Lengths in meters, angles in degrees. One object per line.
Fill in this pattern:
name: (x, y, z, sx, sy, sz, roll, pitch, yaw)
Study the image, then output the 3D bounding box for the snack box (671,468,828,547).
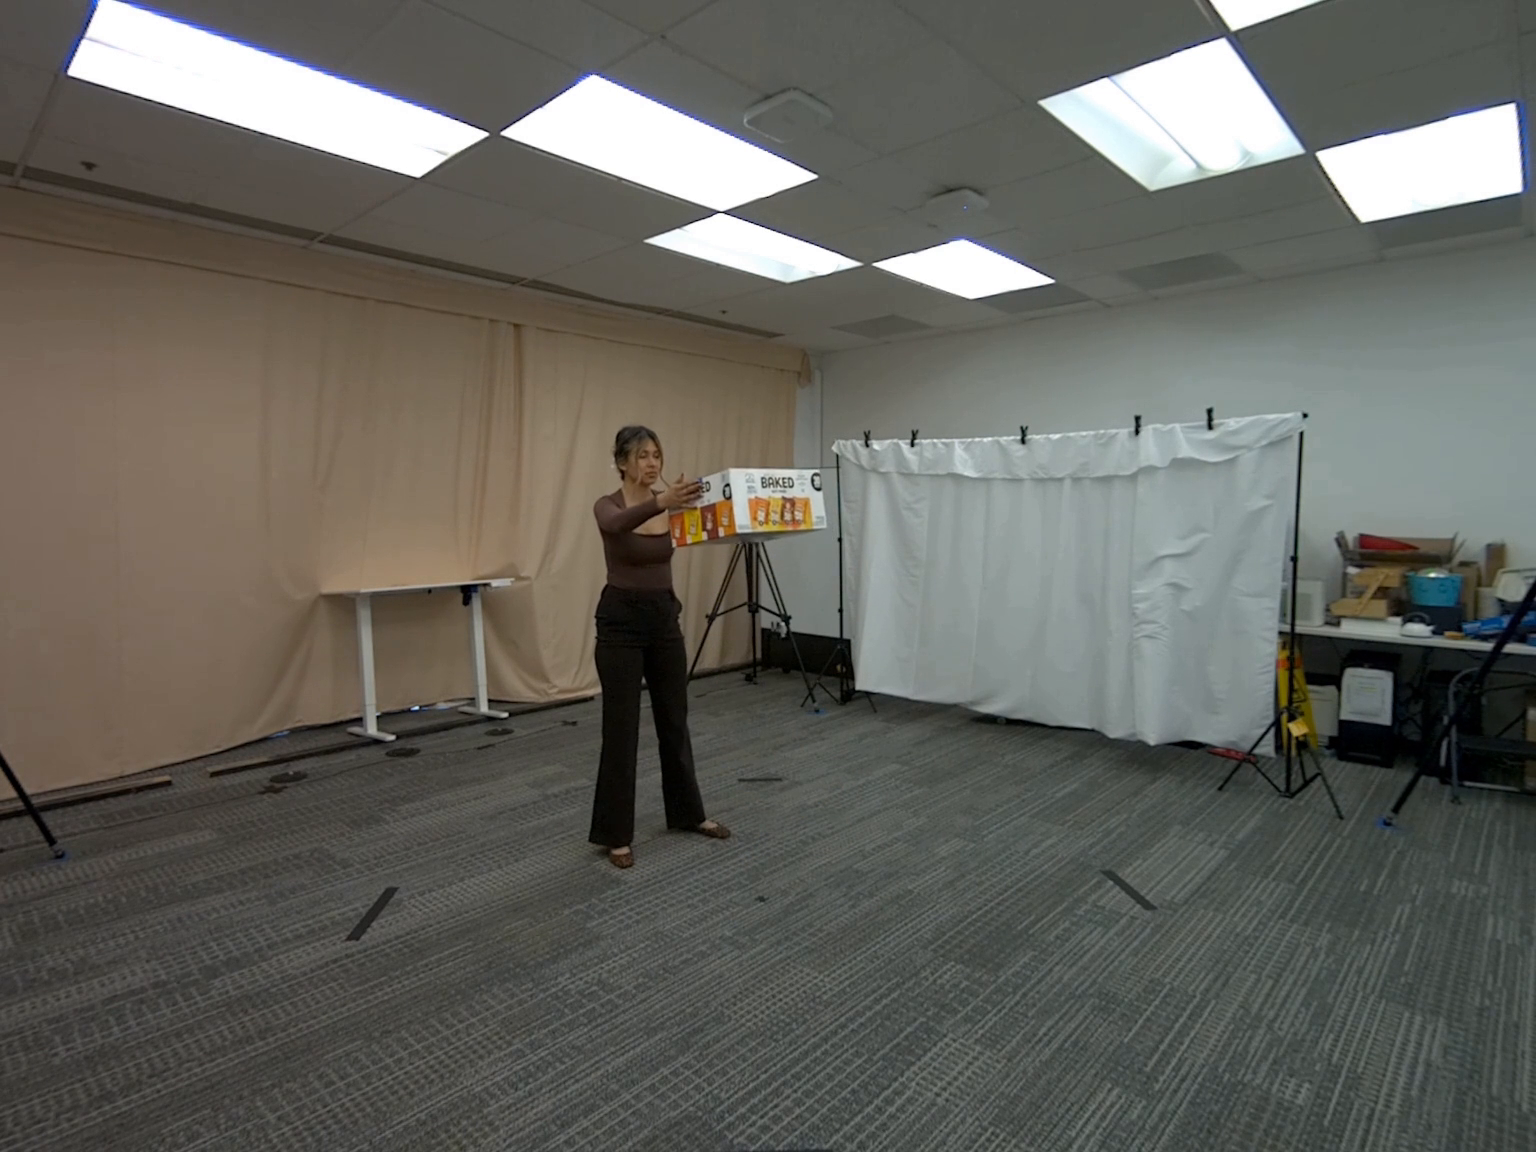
snack box: (-0.065, -0.222, 2.835, 0.393, 0.206, 0.350, -5, -3, -41)
